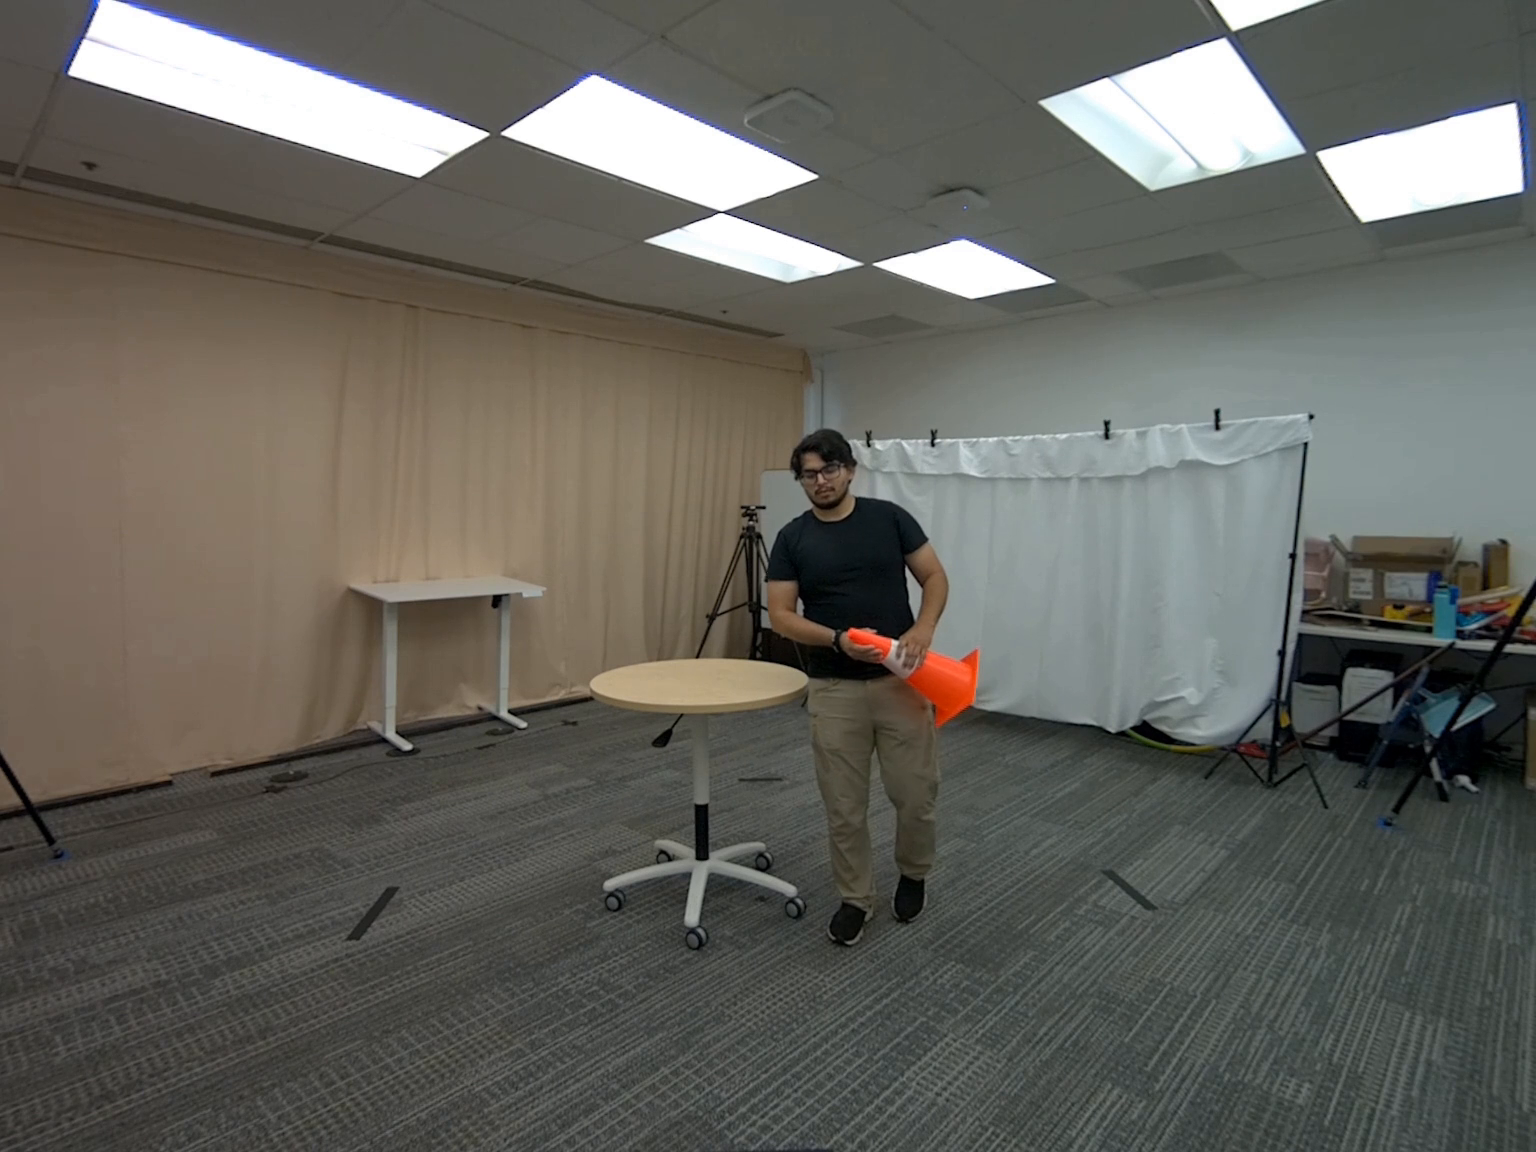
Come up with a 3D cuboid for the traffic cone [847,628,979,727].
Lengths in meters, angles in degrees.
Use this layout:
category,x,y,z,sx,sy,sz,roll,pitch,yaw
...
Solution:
category,x,y,z,sx,sy,sz,roll,pitch,yaw
traffic cone,0.416,0.252,2.505,0.380,0.206,0.204,28,-40,-8
